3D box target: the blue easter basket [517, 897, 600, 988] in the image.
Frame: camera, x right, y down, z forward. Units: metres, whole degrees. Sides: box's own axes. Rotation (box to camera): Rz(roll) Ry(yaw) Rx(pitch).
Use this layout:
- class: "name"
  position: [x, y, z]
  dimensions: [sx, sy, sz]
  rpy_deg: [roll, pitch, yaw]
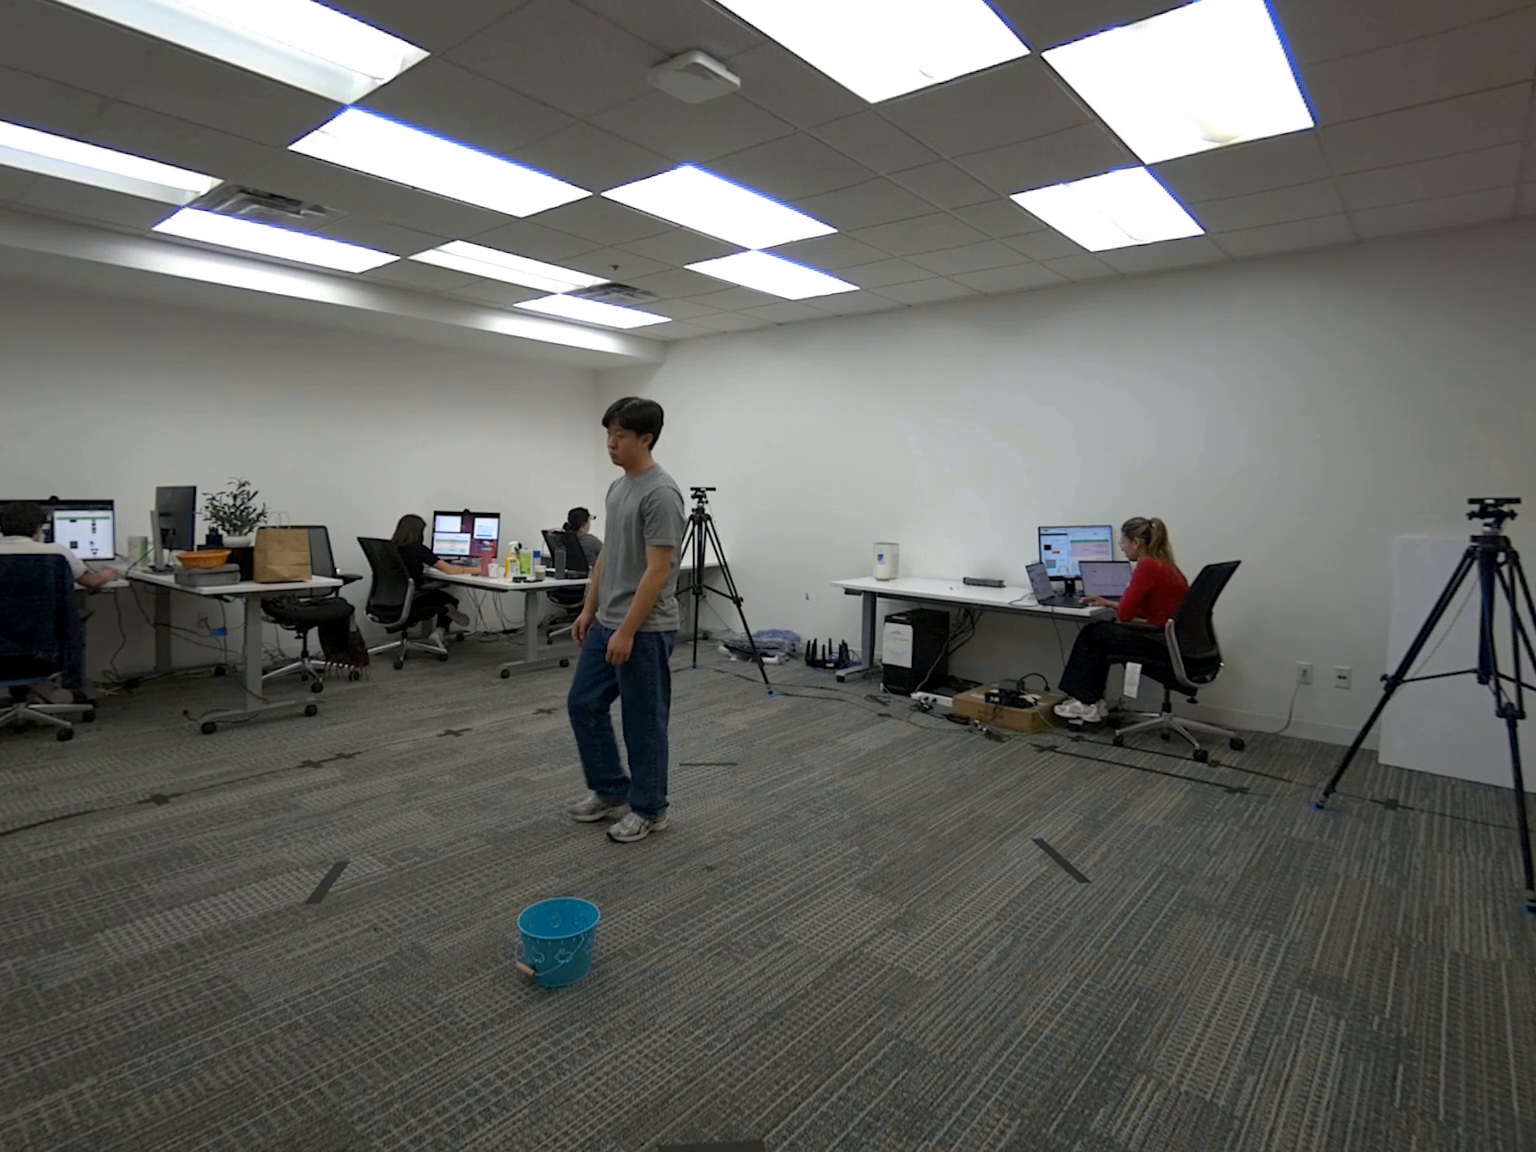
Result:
- class: "blue easter basket"
  position: [-0.614, 1.045, 2.440]
  dimensions: [0.243, 0.155, 0.245]
  rpy_deg: [1, 5, -2]
